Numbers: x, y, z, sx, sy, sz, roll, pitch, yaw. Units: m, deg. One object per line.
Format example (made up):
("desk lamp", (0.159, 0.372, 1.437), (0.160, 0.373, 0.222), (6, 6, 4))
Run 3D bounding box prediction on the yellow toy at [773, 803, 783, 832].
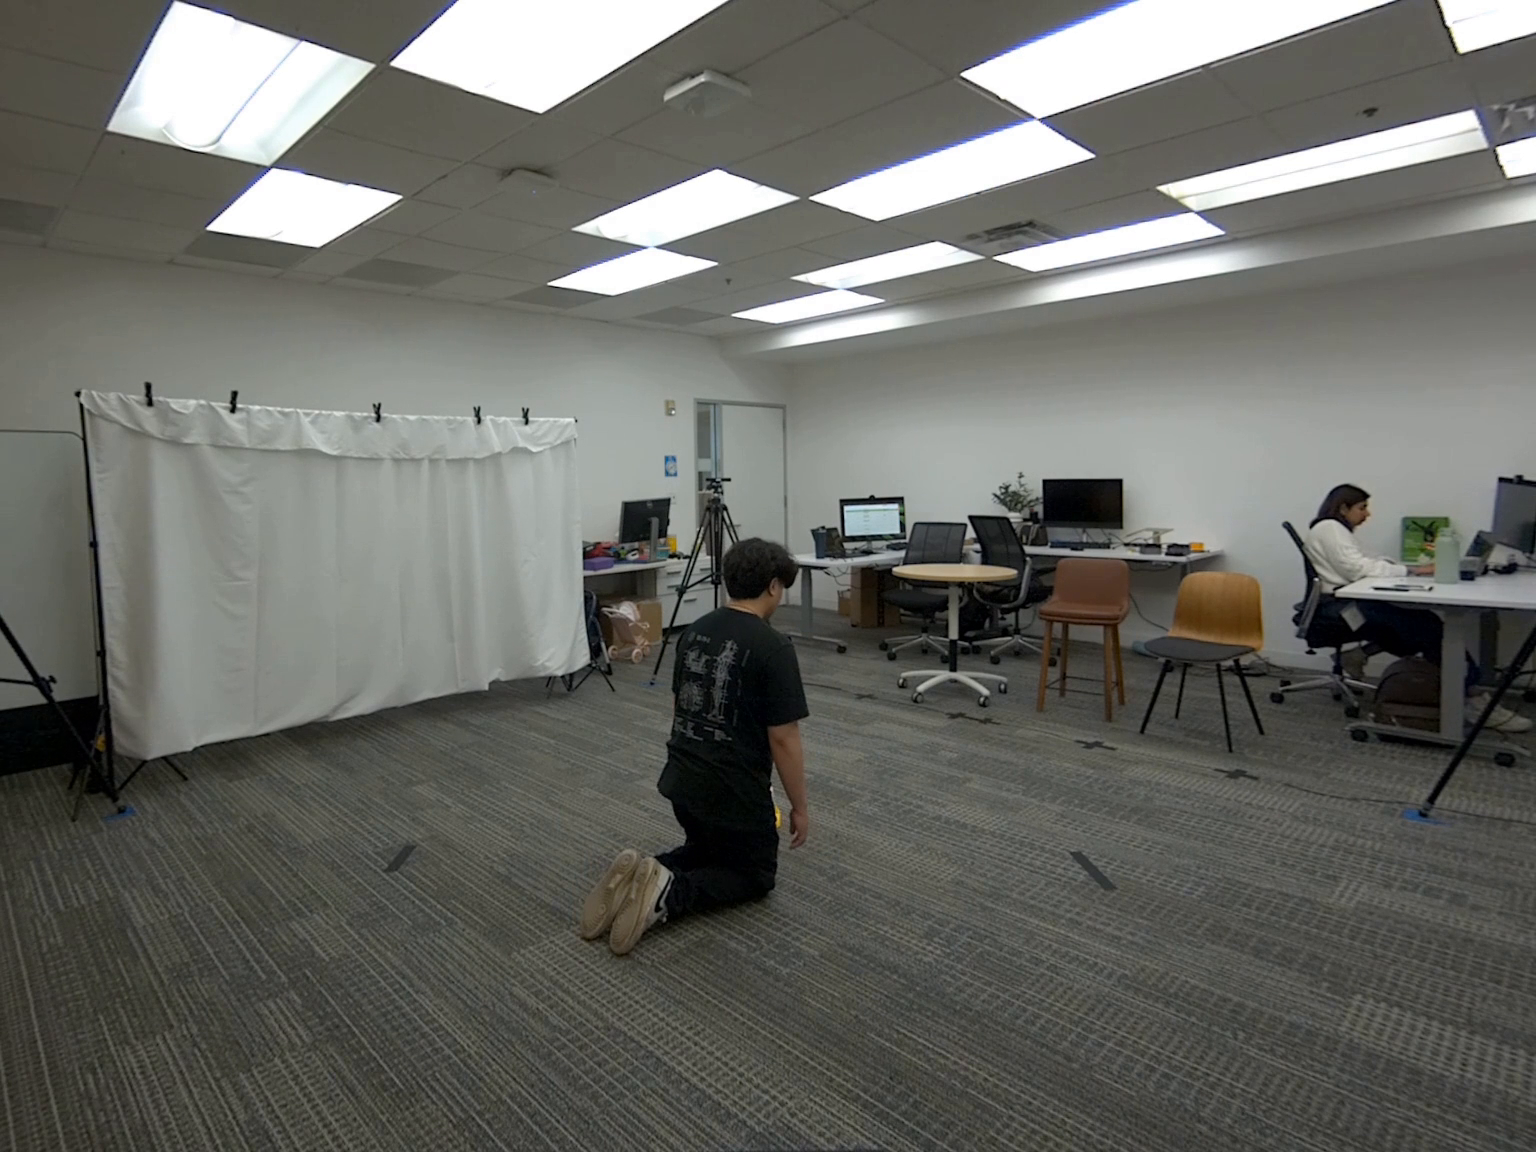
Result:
("yellow toy", (-0.044, 0.890, 3.459), (0.206, 0.229, 0.193), (0, 6, 5))
